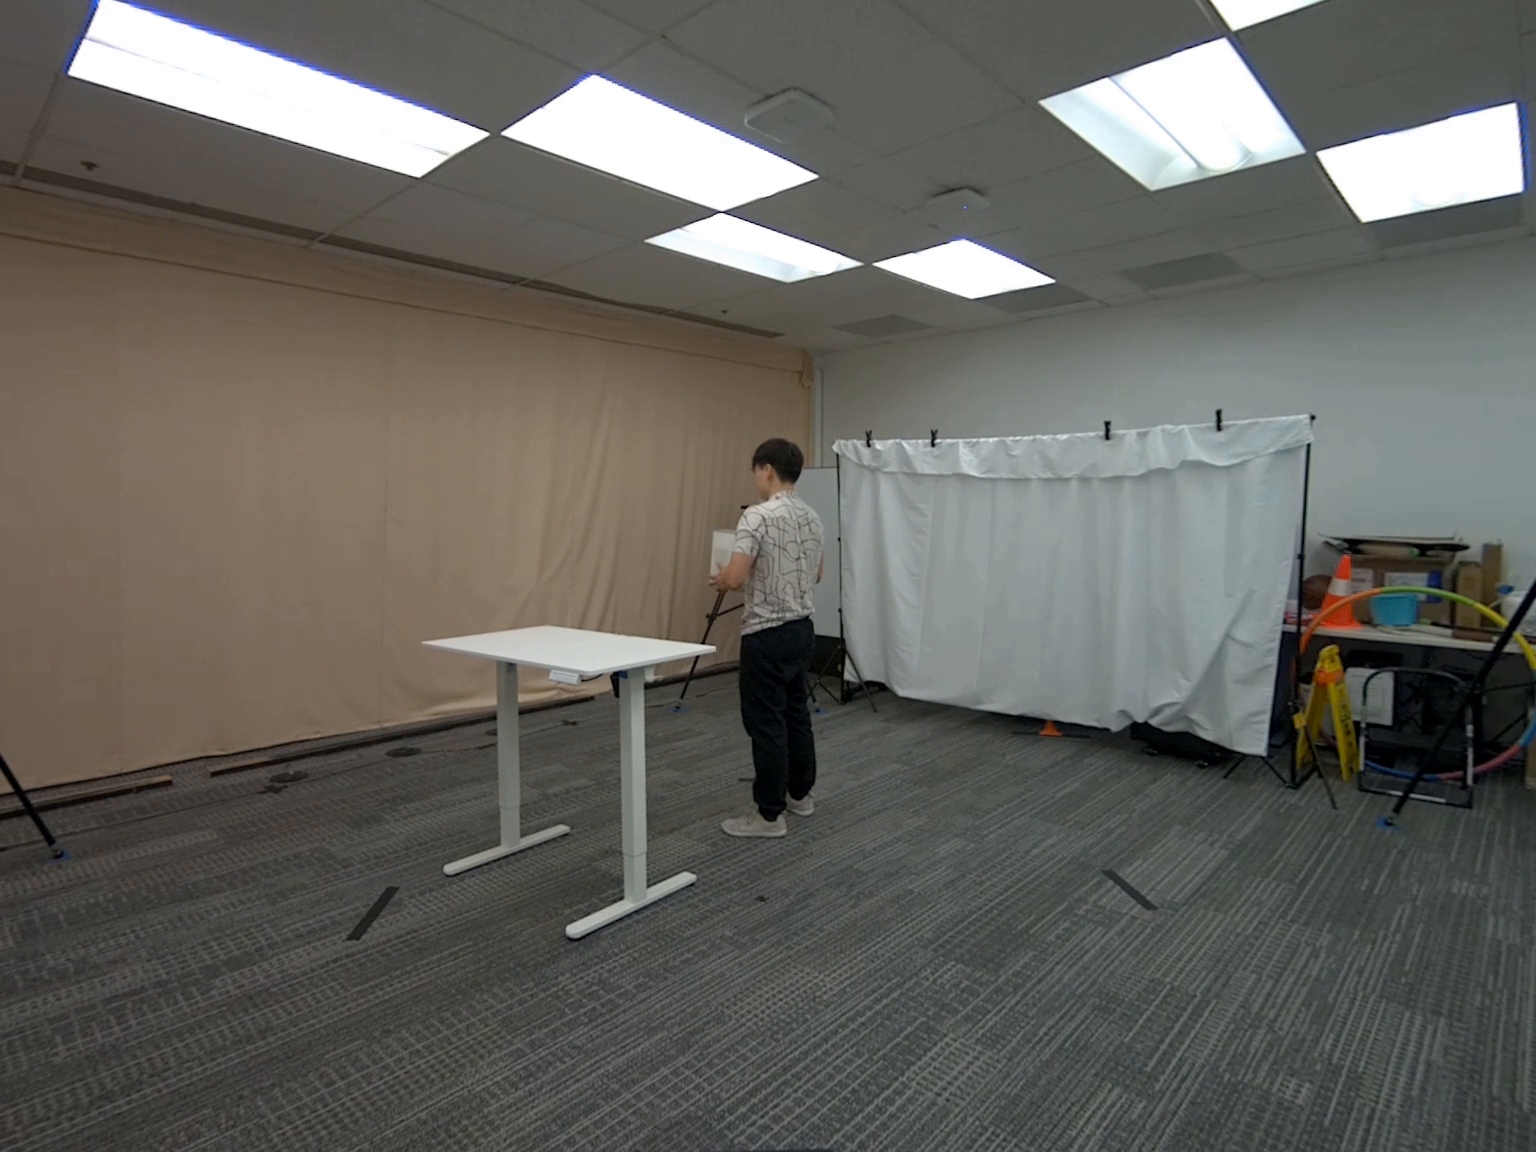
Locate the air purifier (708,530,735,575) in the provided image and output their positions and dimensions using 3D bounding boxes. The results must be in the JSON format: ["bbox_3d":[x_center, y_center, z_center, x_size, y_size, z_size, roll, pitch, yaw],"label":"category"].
[{"bbox_3d":[-0.155,-0.070,3.837,0.177,0.264,0.166,8,8,39],"label":"air purifier"}]
